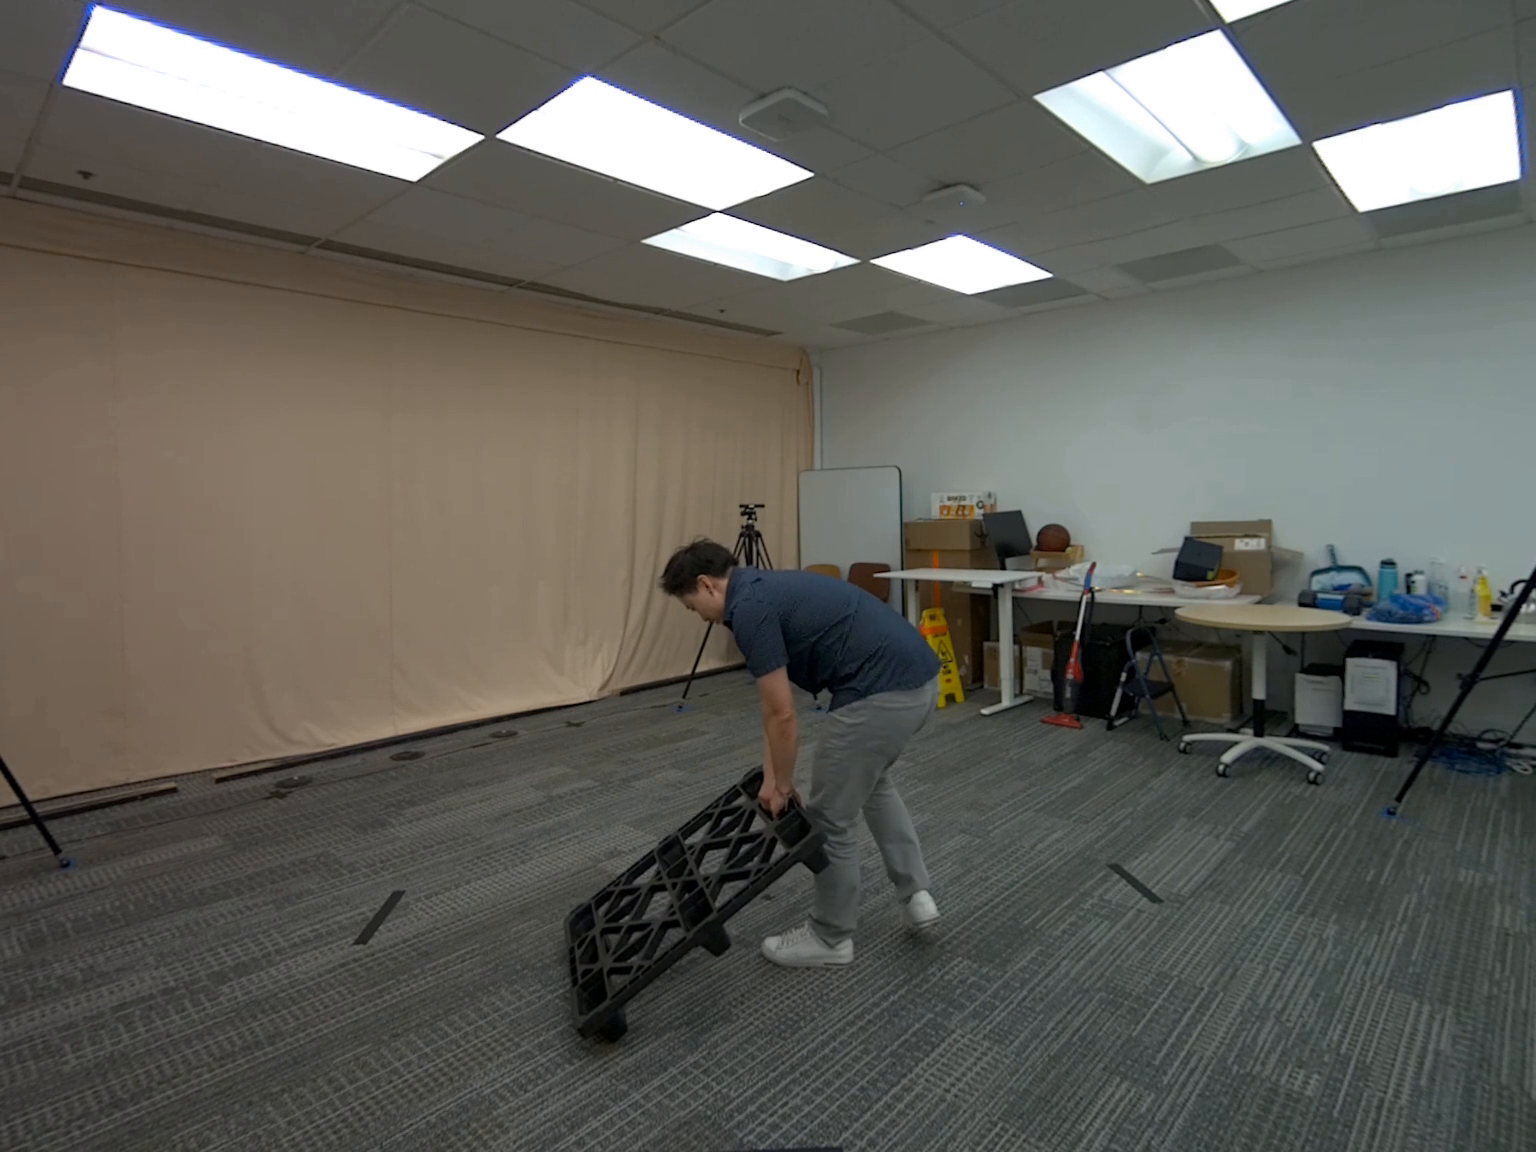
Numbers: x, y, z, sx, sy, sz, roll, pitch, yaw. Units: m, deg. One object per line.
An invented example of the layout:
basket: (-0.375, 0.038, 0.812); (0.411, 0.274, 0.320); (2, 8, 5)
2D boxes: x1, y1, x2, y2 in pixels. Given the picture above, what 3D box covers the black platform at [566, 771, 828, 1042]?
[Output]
black platform: (-0.210, 0.932, 2.451); (0.802, 0.141, 0.616); (-37, 14, -9)
